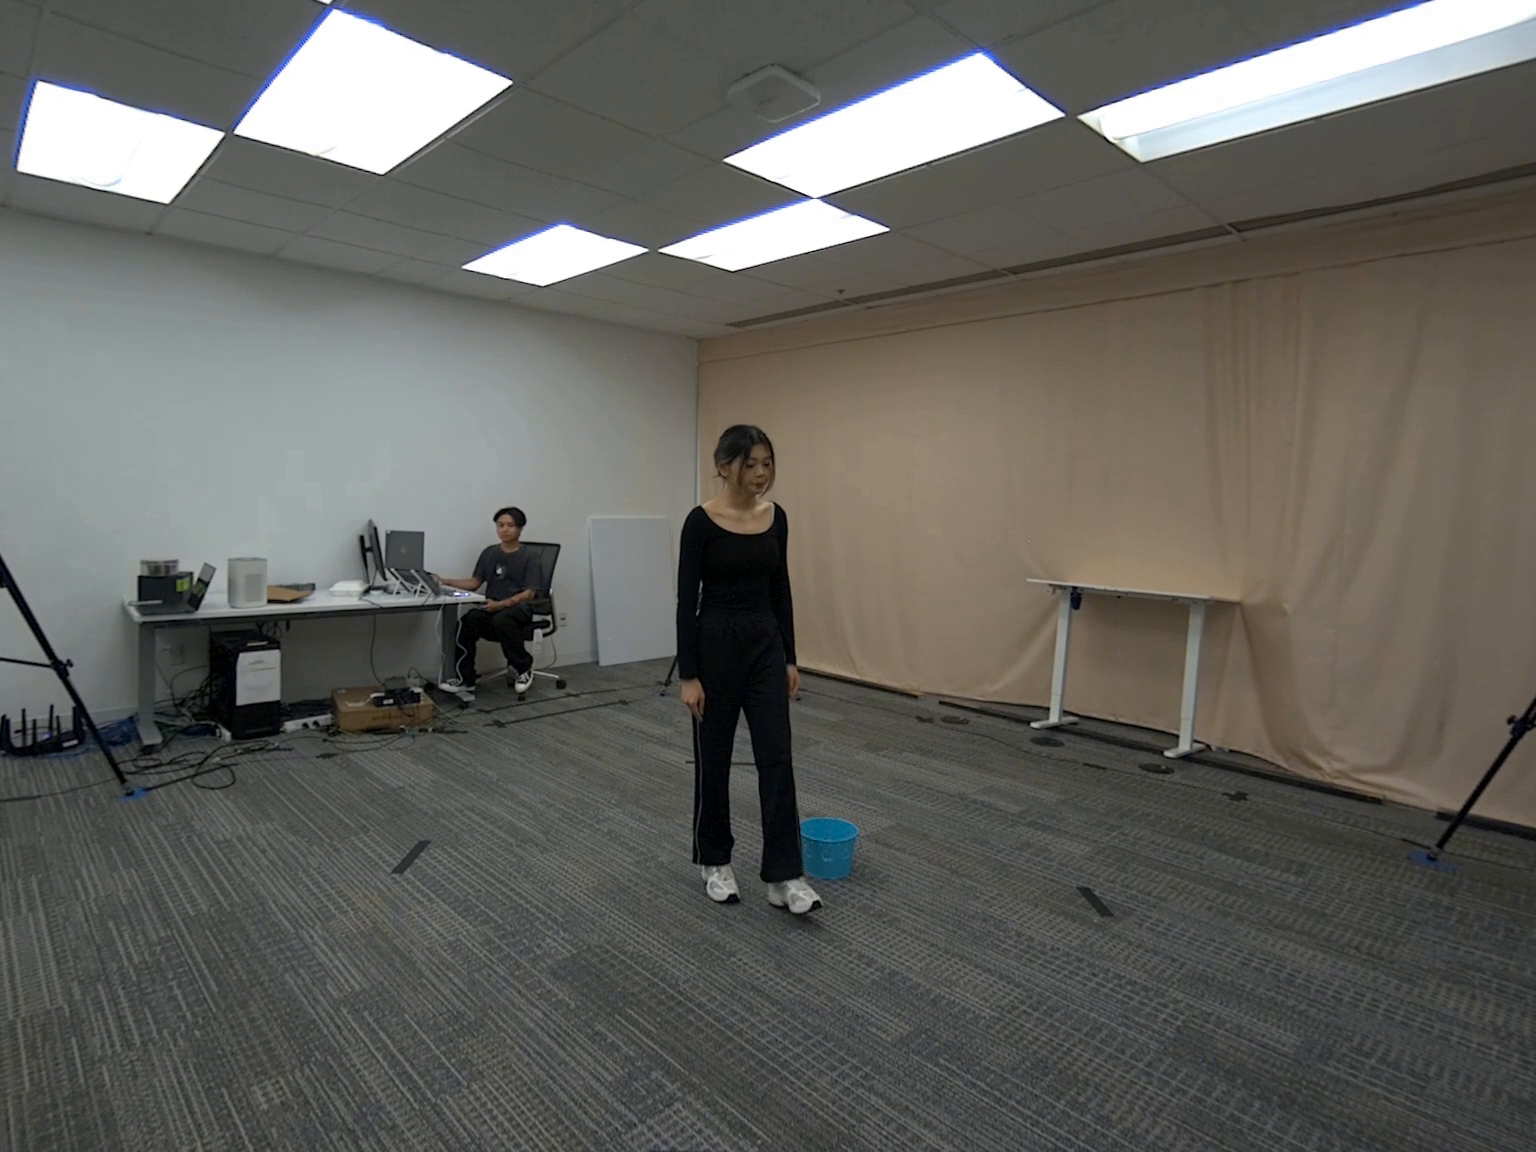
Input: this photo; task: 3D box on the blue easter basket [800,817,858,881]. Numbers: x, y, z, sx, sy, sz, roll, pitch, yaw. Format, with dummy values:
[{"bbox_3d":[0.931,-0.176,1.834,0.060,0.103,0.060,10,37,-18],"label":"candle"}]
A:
[{"bbox_3d":[0.213,1.028,3.183,0.243,0.155,0.244,2,3,-1],"label":"blue easter basket"}]
